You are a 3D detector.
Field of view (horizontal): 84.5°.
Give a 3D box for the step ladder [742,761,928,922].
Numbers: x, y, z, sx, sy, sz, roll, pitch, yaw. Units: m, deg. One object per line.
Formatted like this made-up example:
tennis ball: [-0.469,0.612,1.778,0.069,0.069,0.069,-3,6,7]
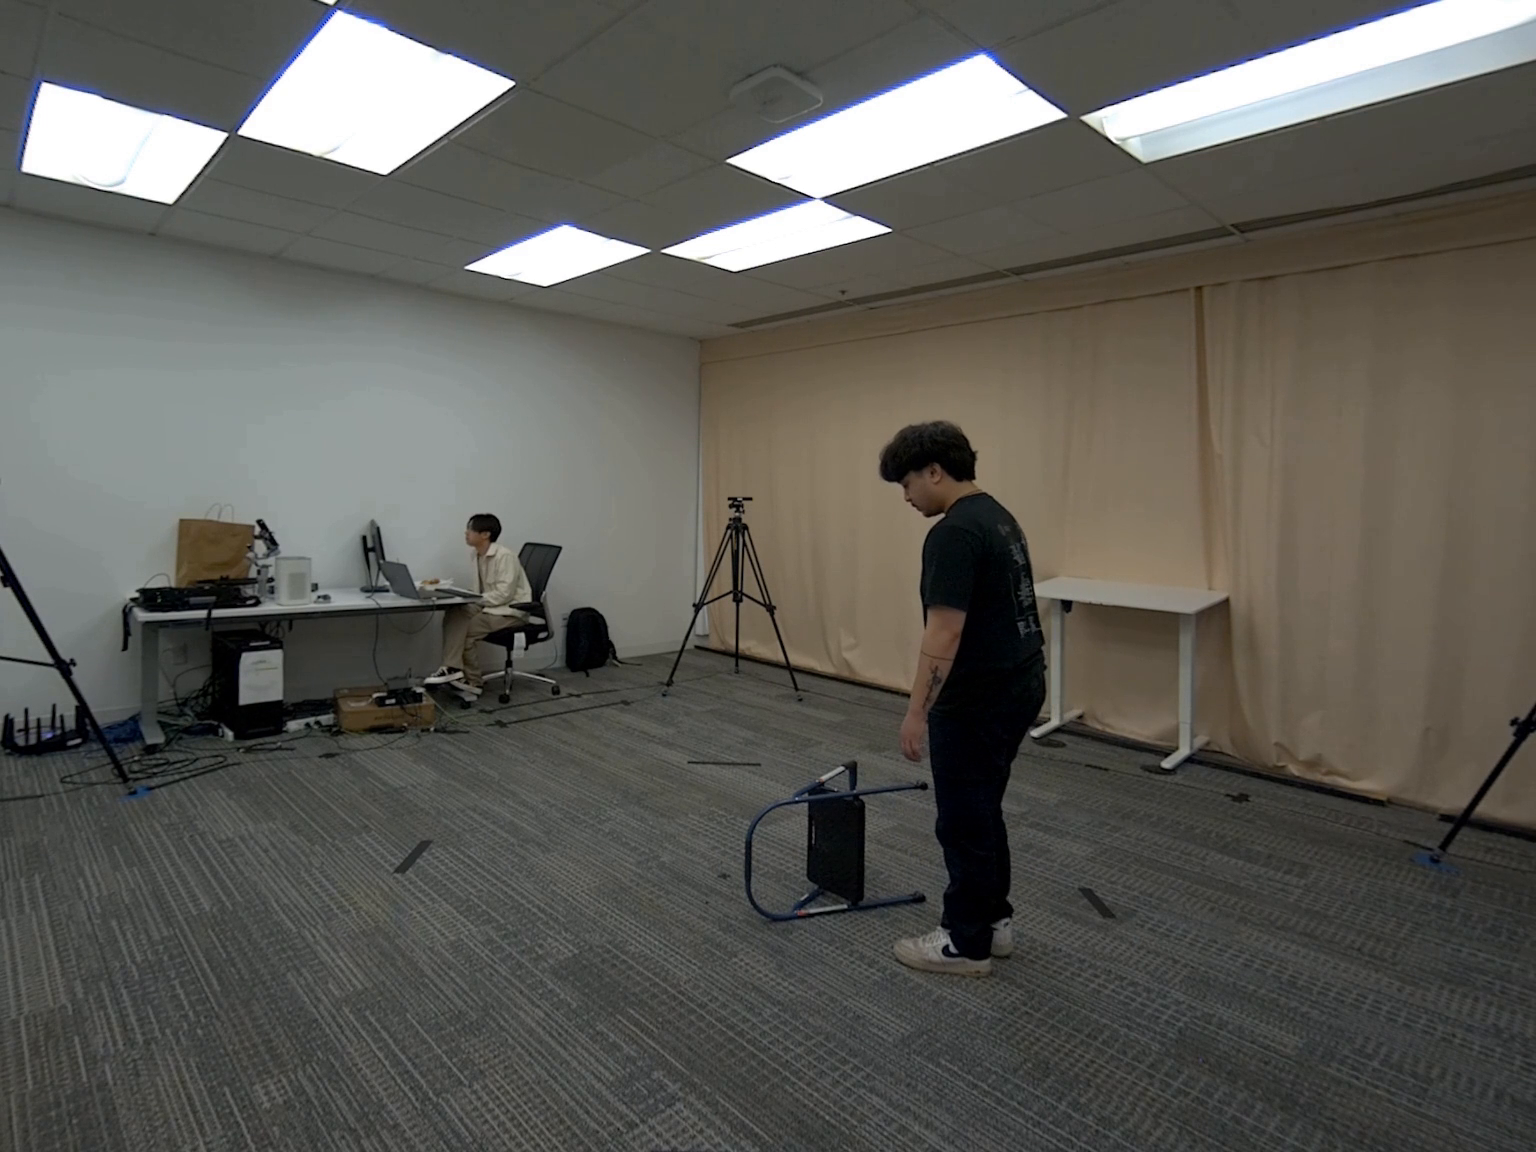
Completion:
step ladder: [0.202,0.924,2.869,0.592,0.429,0.358,-3,5,-40]
